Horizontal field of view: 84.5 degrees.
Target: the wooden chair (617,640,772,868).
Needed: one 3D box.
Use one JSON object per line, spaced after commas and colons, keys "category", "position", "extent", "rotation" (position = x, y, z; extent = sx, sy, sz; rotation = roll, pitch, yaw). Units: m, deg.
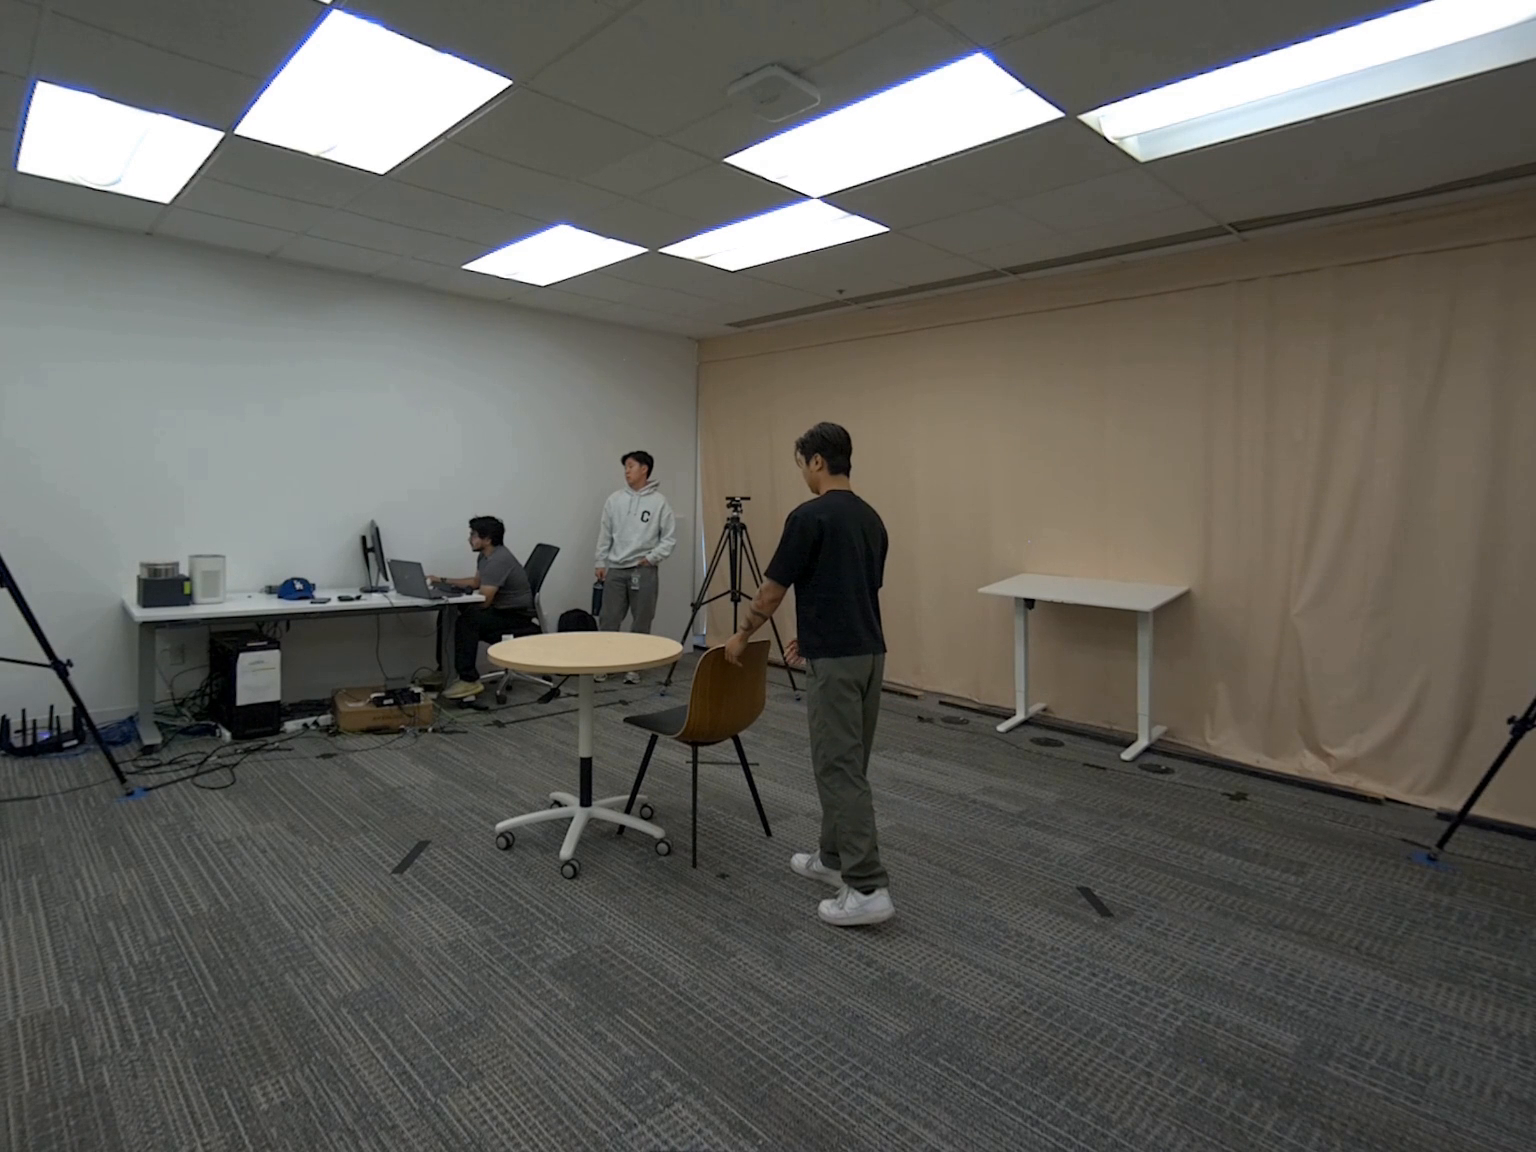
{"category": "wooden chair", "position": [-0.301, 0.642, 3.444], "extent": [0.537, 0.874, 0.467], "rotation": [11, 8, 41]}
